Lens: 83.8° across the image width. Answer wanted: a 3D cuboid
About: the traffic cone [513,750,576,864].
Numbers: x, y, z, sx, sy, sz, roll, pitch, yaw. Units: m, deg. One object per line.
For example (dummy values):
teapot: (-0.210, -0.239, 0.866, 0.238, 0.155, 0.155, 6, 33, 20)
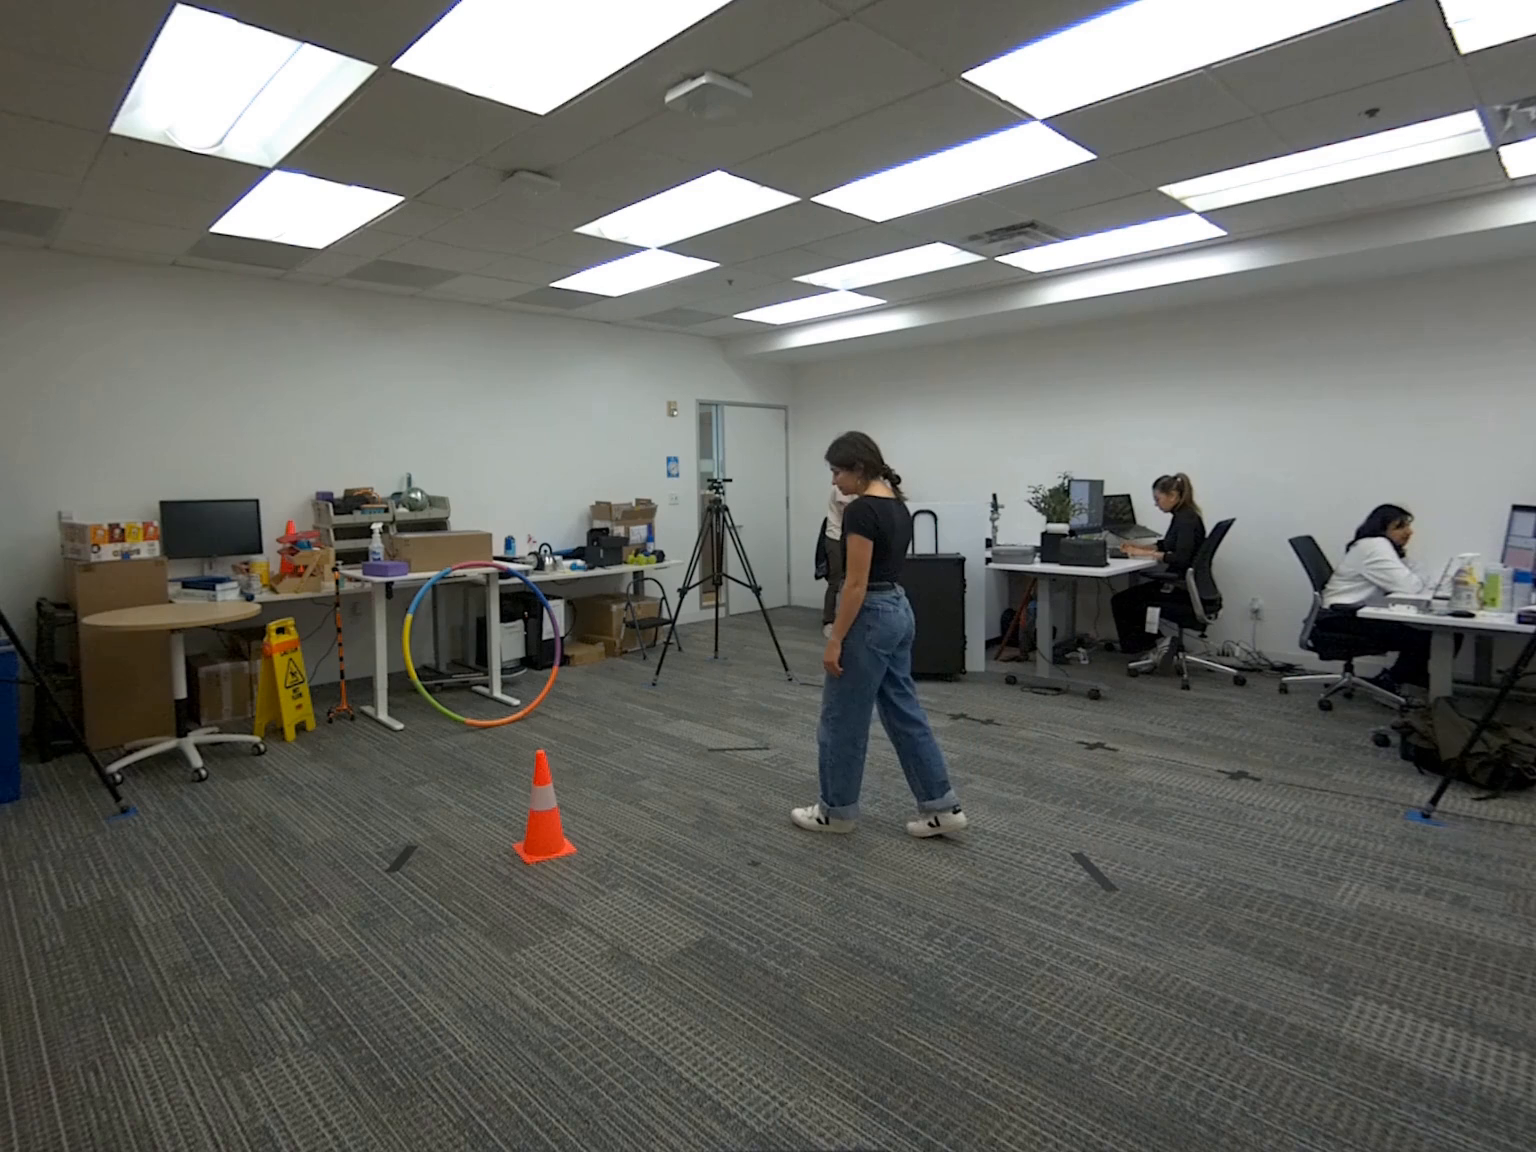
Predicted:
traffic cone: (-0.857, 0.857, 3.267, 0.198, 0.383, 0.210, -2, 3, -30)
